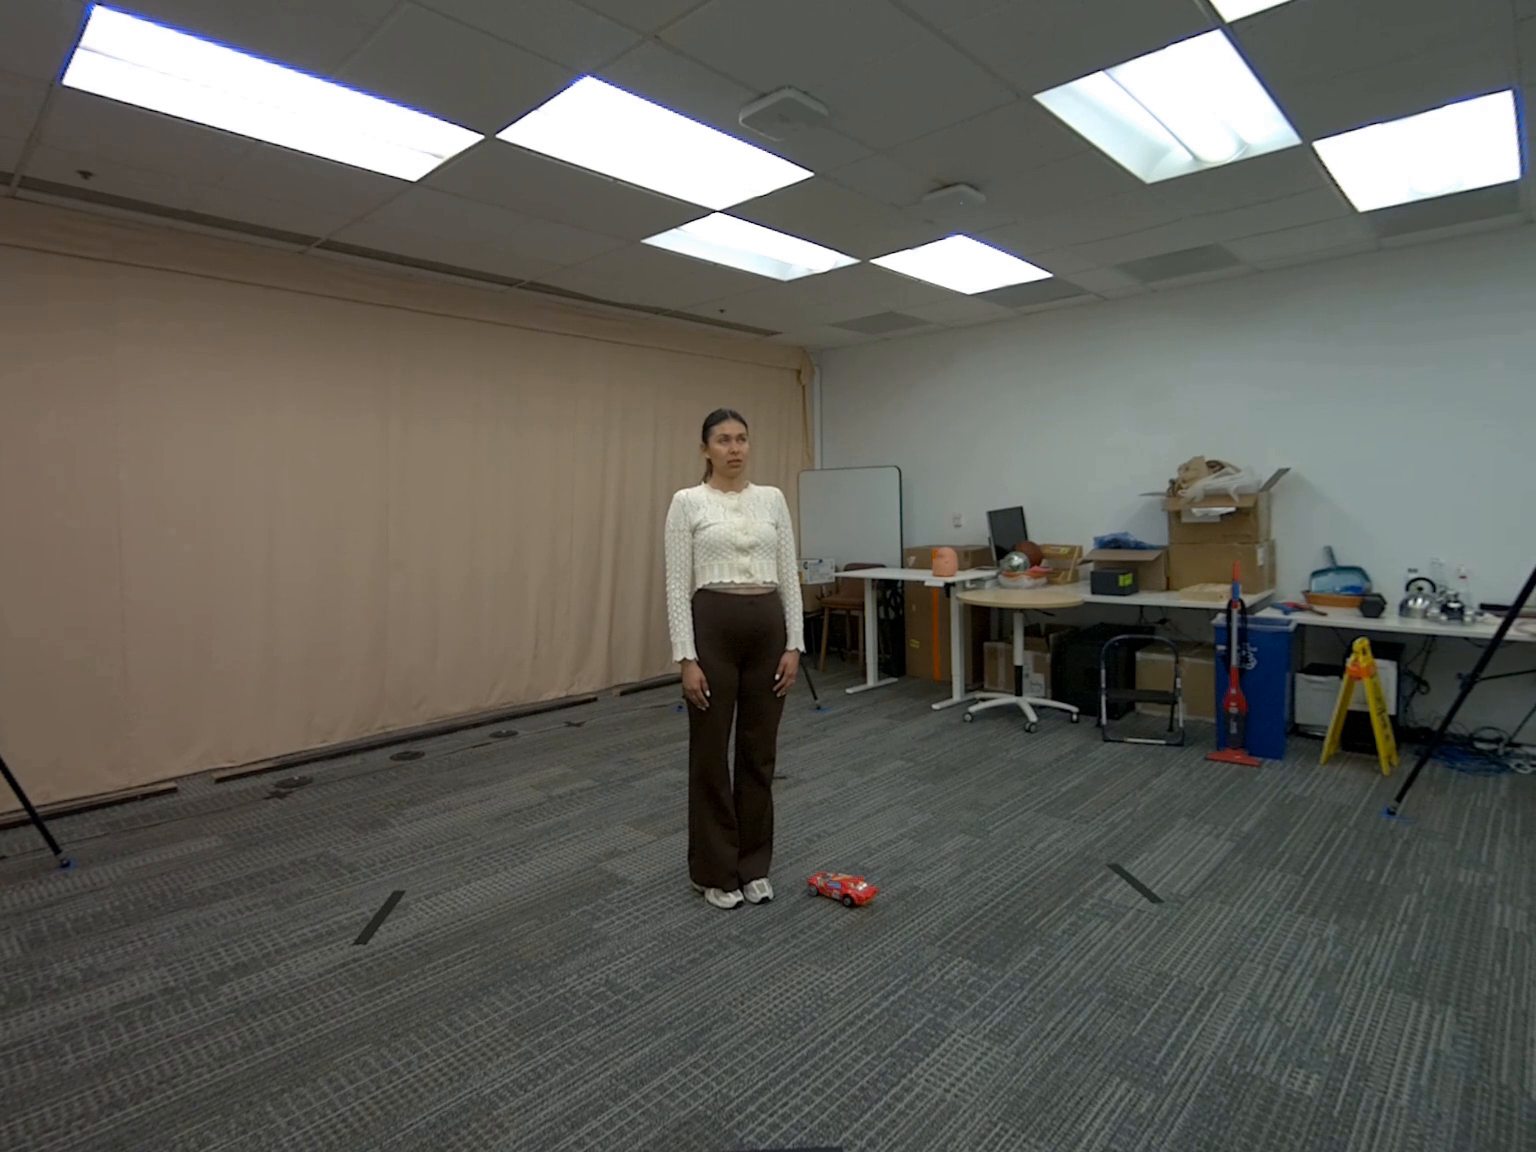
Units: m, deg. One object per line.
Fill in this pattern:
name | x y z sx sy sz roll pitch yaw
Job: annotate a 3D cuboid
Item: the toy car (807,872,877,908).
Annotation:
toy car | 0.274 1.112 2.963 0.261 0.083 0.126 -11 -2 40
